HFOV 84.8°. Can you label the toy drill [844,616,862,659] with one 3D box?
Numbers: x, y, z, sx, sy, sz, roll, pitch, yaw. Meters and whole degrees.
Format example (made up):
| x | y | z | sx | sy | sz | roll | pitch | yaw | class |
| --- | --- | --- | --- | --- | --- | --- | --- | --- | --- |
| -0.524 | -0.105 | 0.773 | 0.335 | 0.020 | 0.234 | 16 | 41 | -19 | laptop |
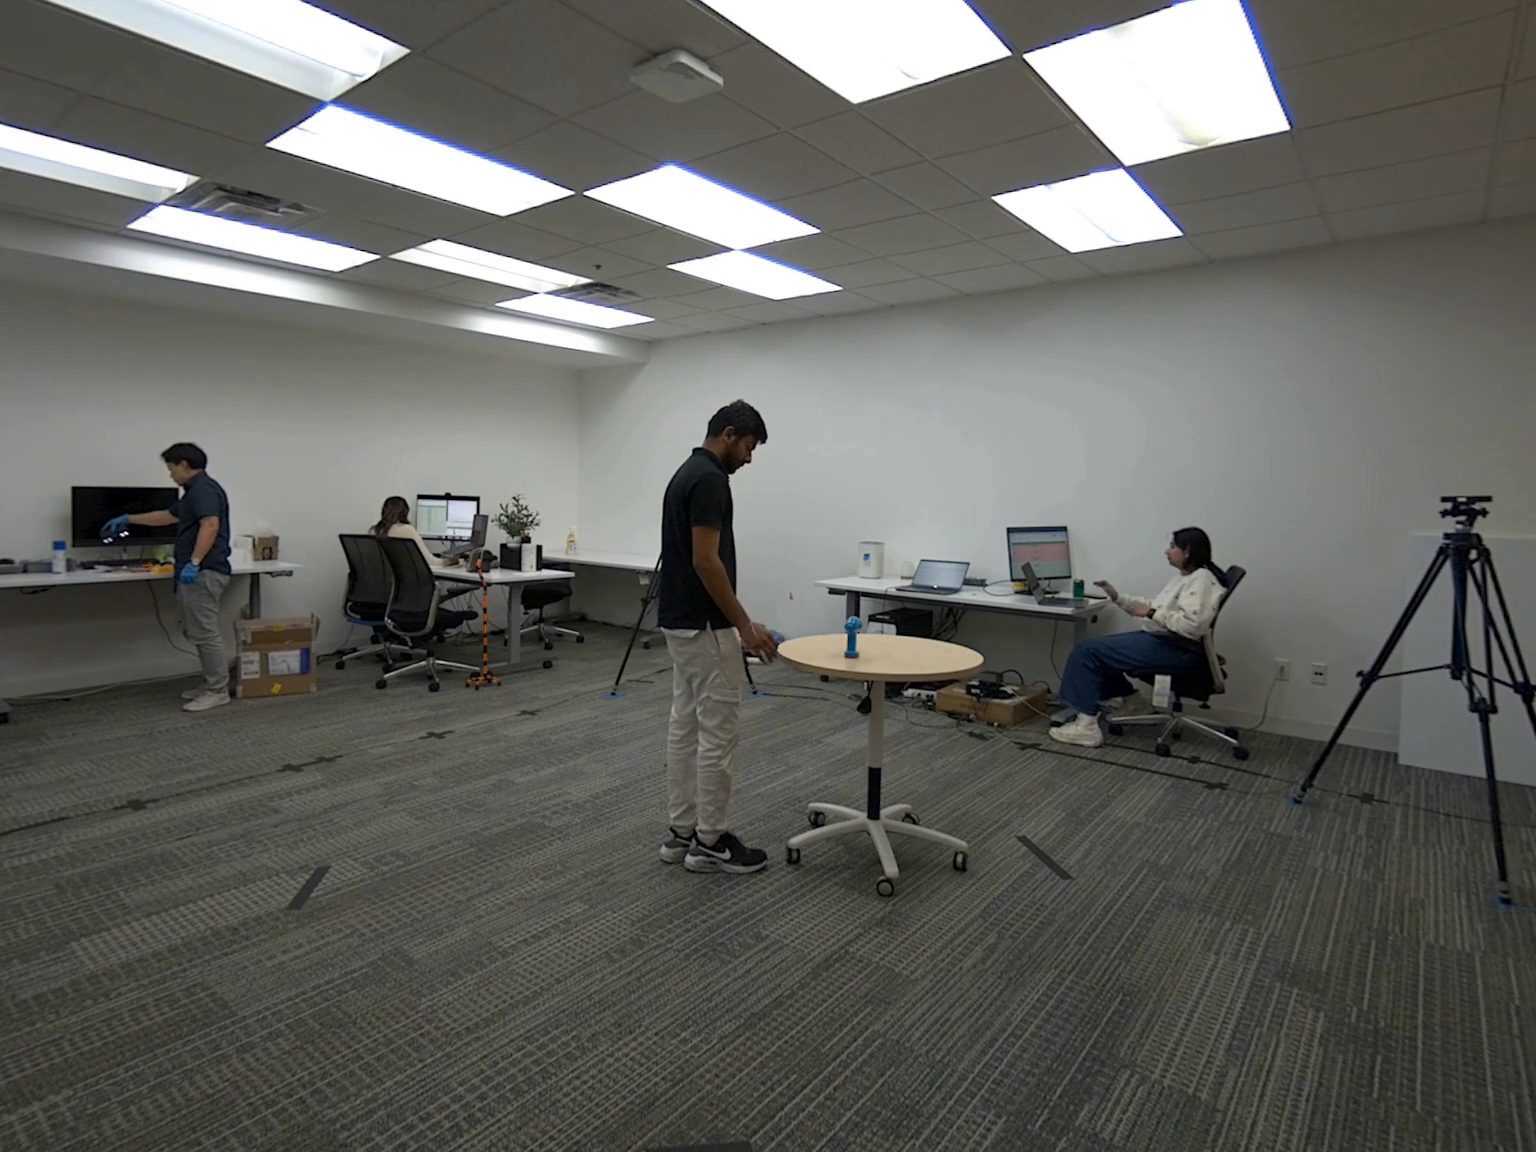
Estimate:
| x | y | z | sx | sy | sz | roll | pitch | yaw | class |
| --- | --- | --- | --- | --- | --- | --- | --- | --- | --- |
| 0.312 | 0.219 | 3.151 | 0.062 | 0.145 | 0.168 | 2 | 6 | 14 | toy drill |
